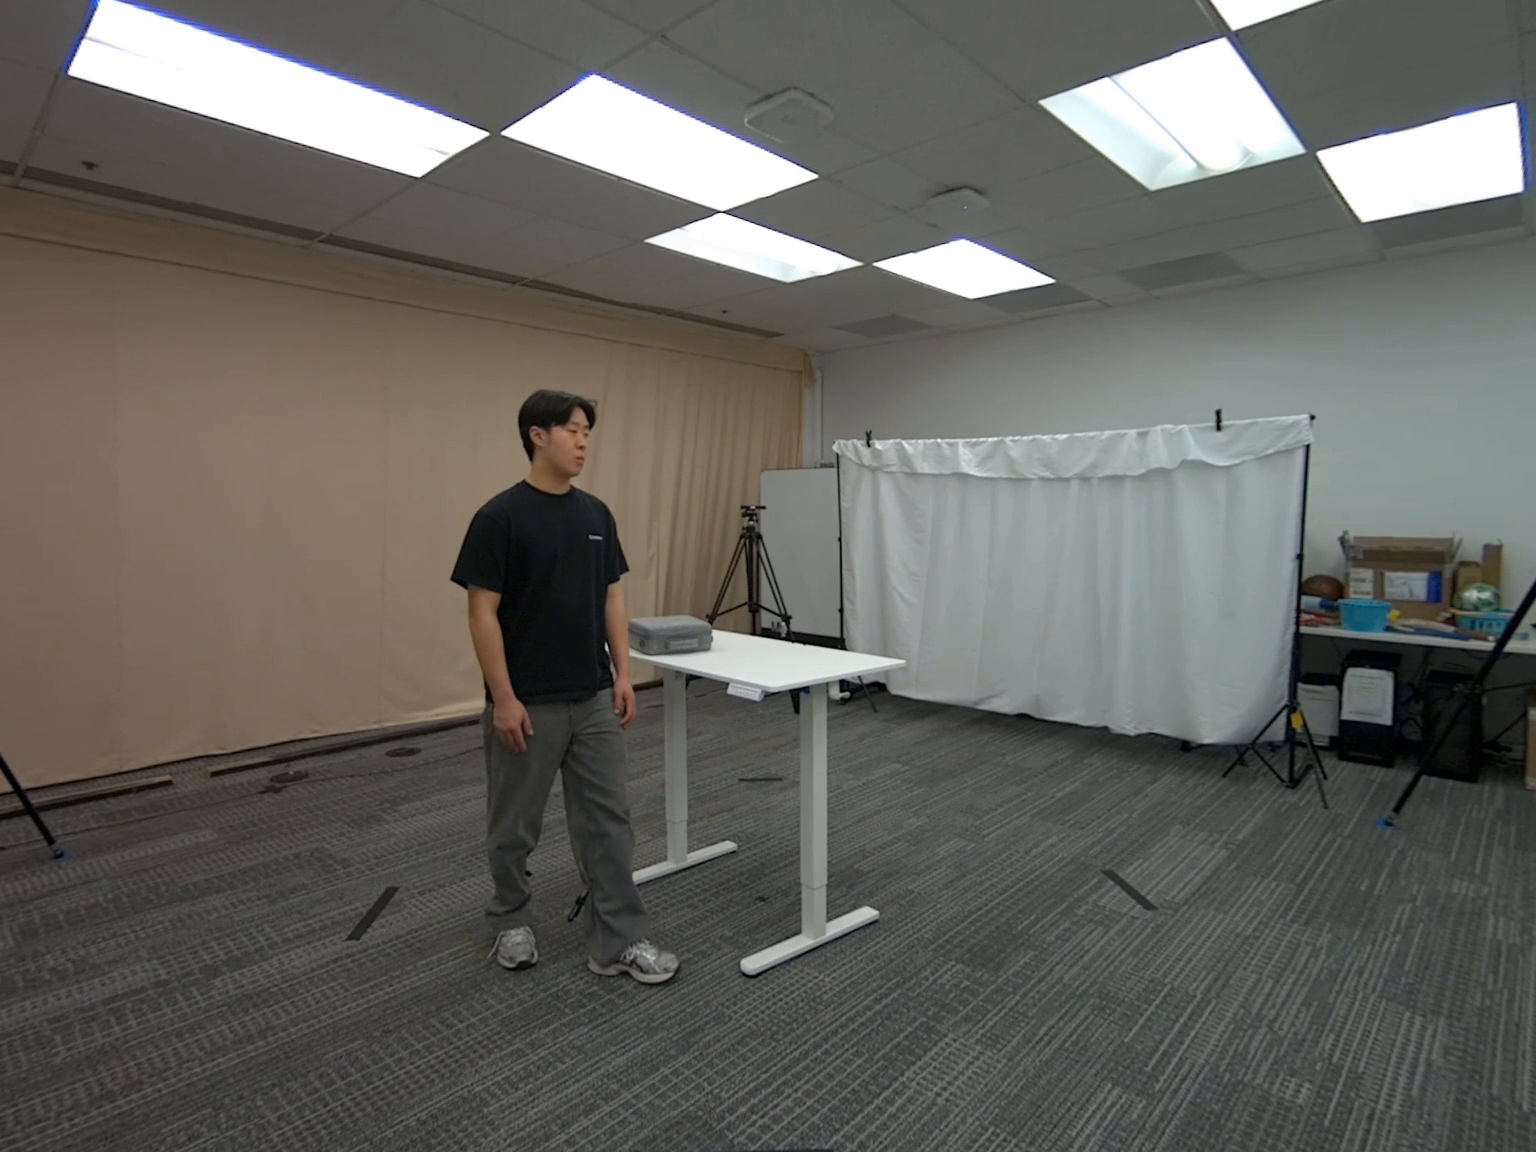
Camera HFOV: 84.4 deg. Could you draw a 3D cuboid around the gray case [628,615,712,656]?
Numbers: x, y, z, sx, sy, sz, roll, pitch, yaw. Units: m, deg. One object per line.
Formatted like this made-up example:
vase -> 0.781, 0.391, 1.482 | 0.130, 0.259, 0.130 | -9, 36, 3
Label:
gray case -> -0.346, 0.210, 3.015 | 0.257, 0.103, 0.295 | -2, 6, -26
